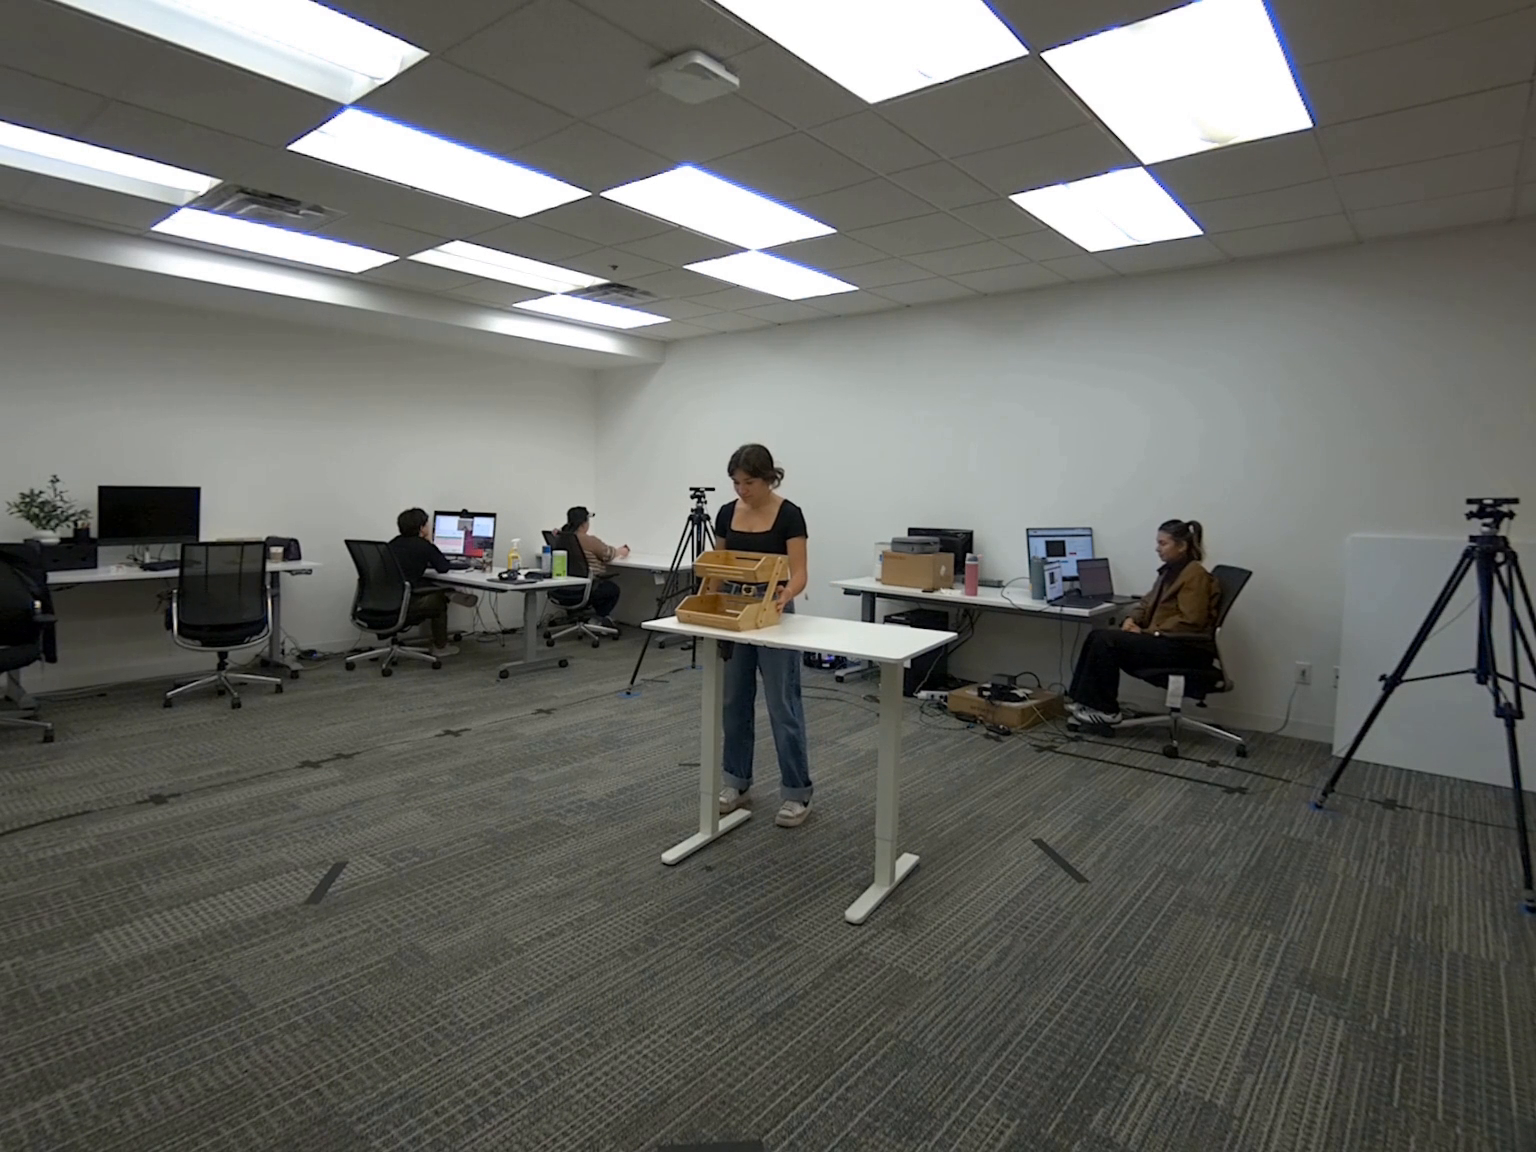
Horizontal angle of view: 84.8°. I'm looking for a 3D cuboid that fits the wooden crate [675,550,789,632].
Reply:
[{"bbox_3d":[-0.143,0.040,3.200,0.335,0.272,0.293,5,5,37],"label":"wooden crate"}]
